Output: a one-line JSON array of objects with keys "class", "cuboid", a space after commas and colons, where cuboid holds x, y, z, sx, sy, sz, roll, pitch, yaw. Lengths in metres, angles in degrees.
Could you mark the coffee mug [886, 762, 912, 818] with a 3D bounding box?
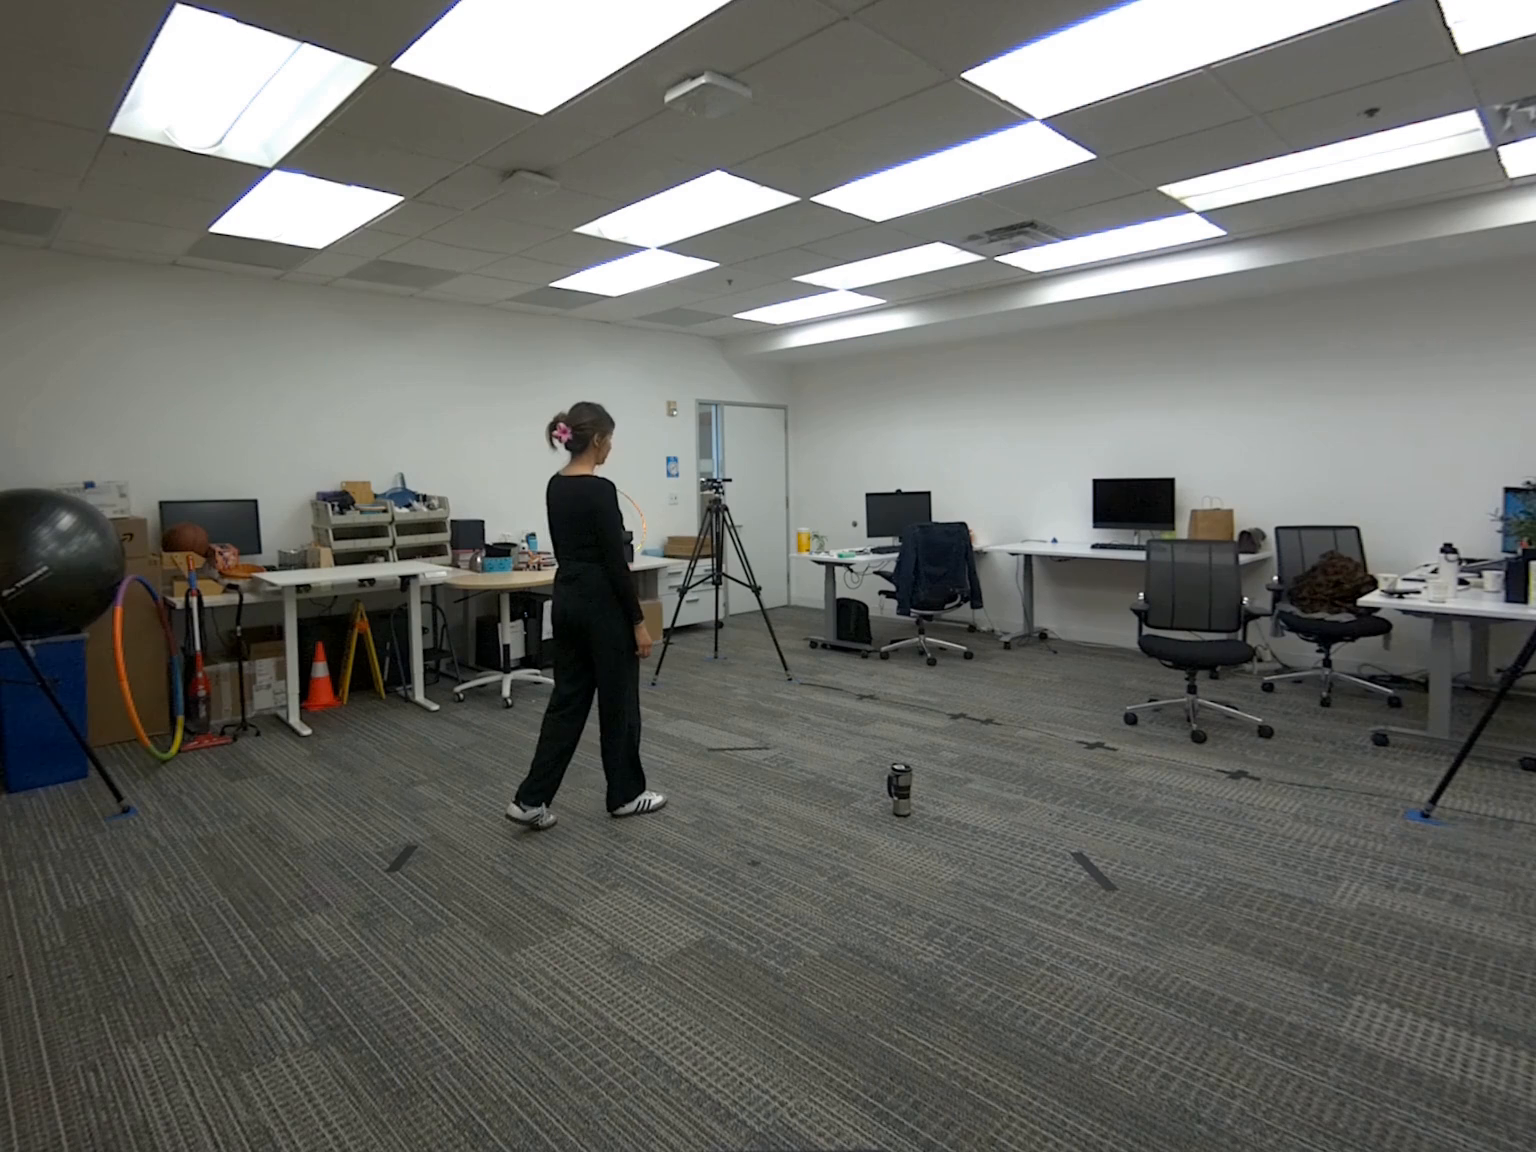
[{"class": "coffee mug", "cuboid": [0.527, 0.883, 3.522, 0.120, 0.202, 0.090, 2, 5, -19]}]
